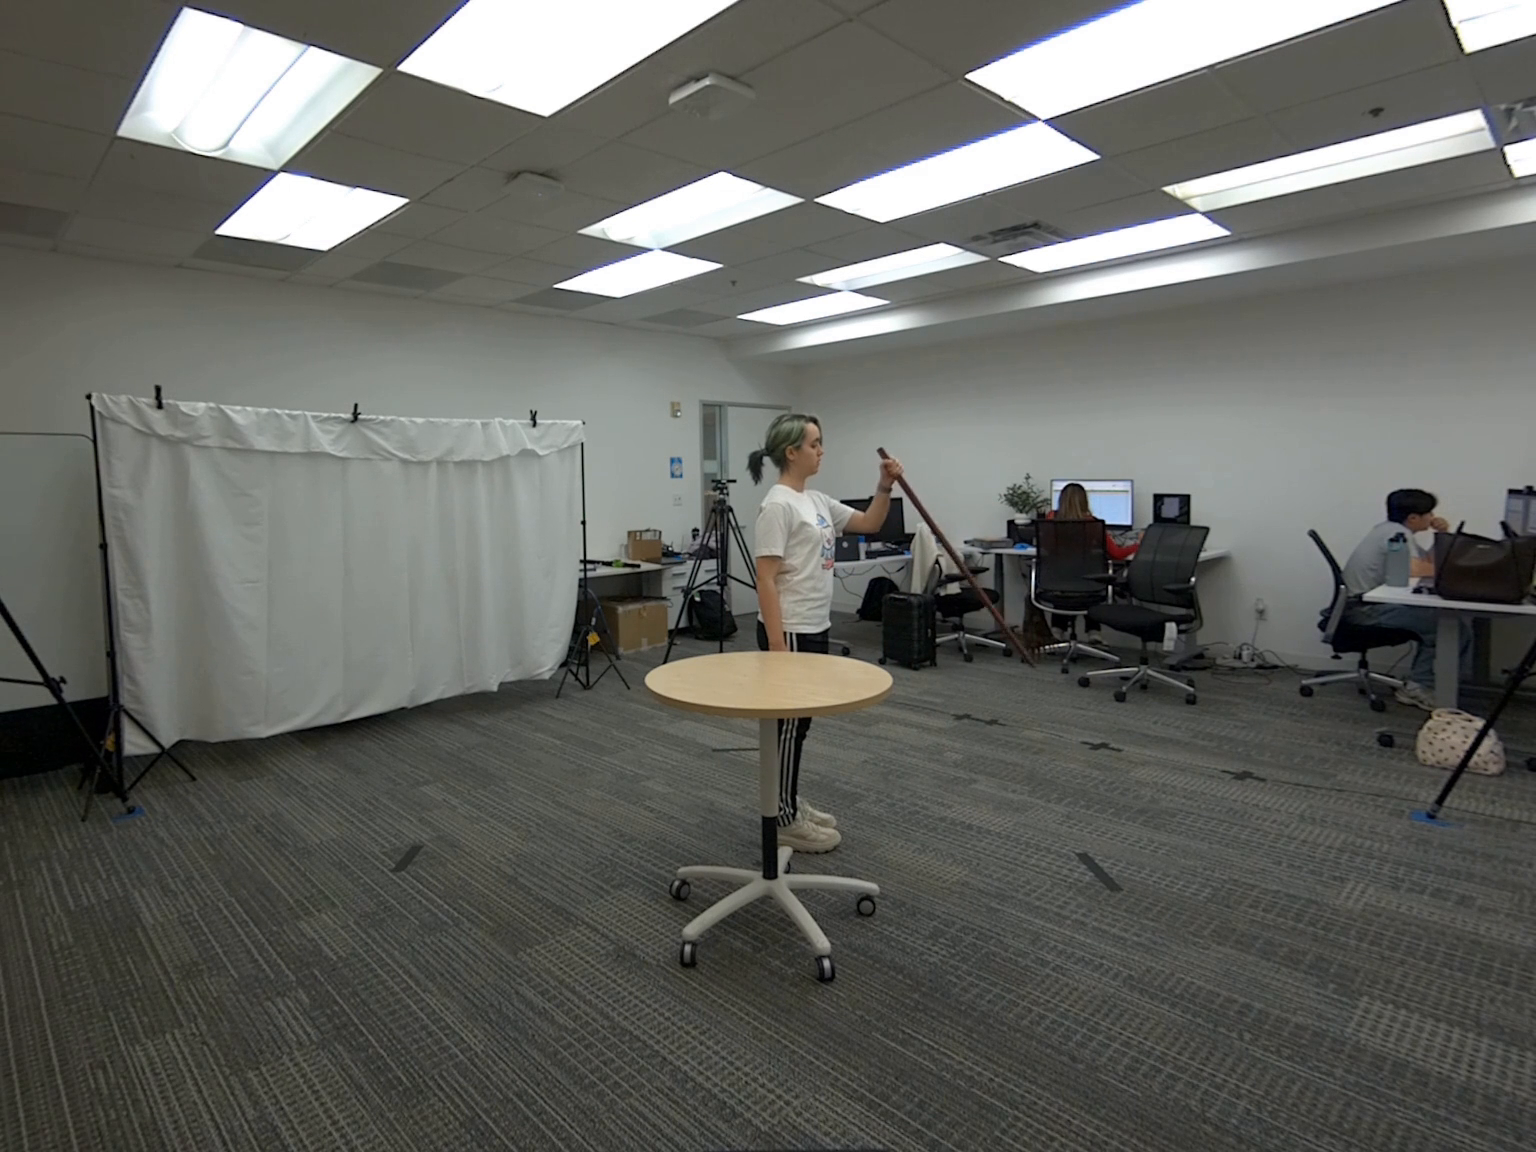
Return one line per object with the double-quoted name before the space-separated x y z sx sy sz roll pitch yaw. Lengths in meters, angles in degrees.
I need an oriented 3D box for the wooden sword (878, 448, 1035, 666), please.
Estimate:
"wooden sword" 0.700 -0.052 3.234 0.024 1.024 0.051 -33 0 6
